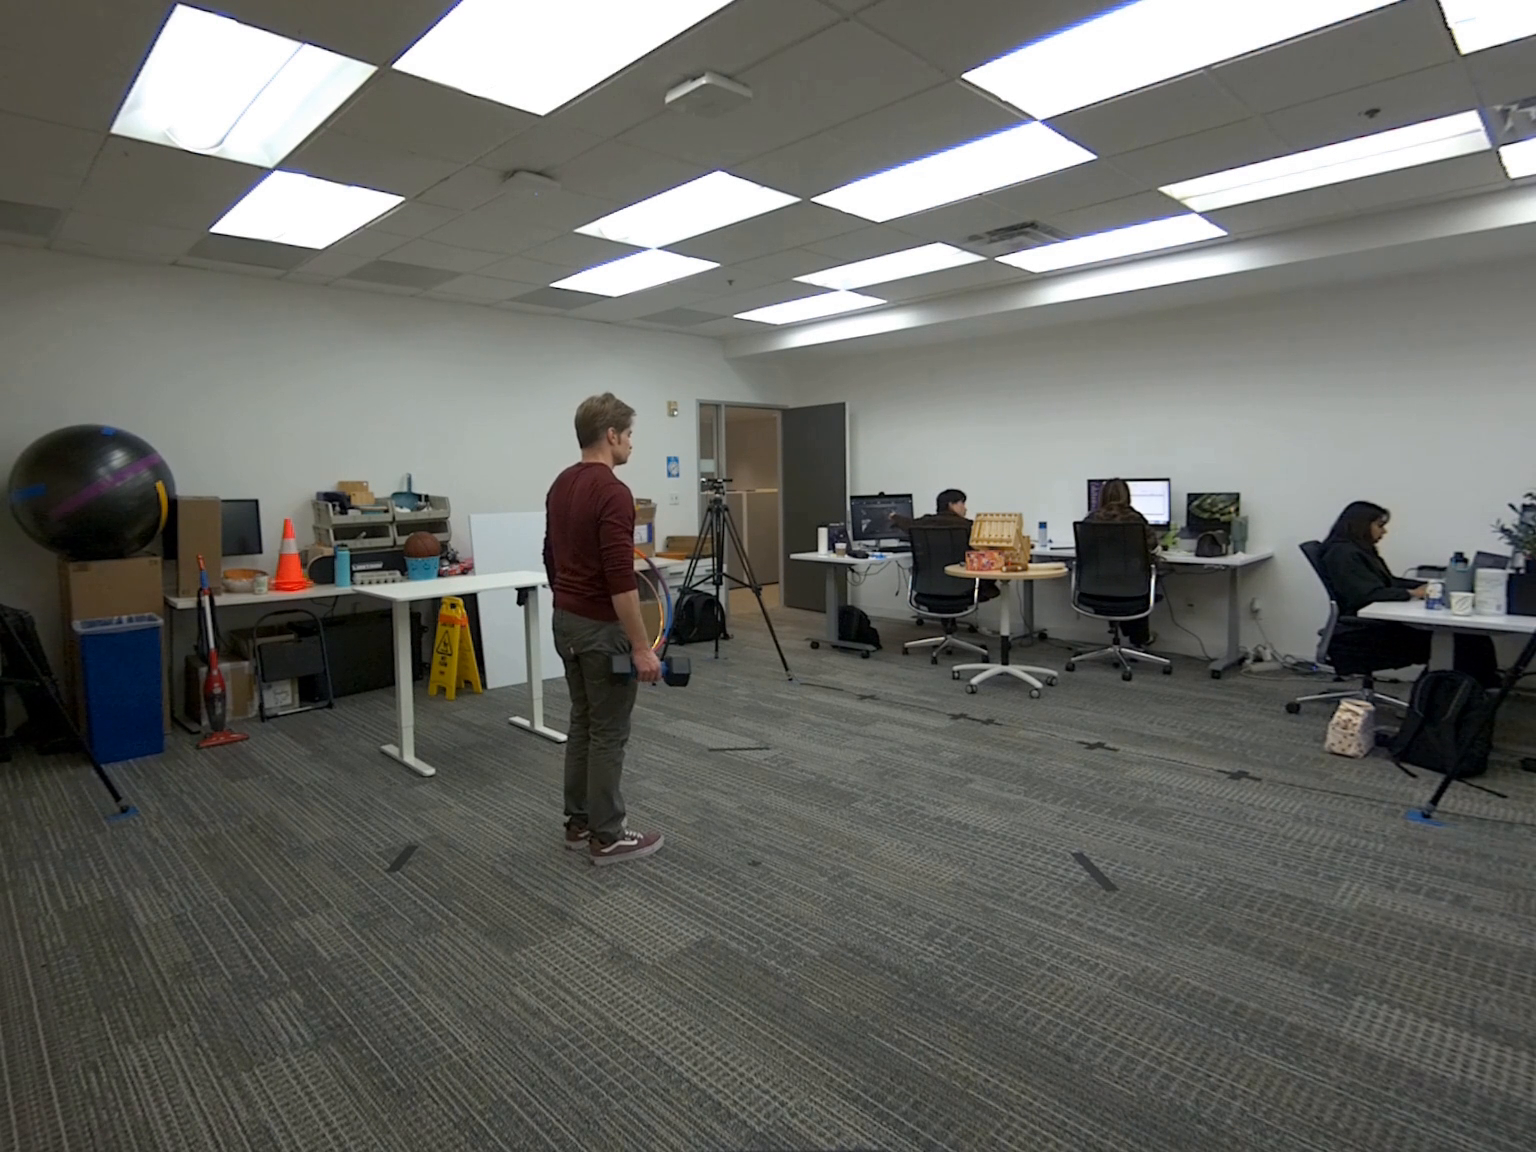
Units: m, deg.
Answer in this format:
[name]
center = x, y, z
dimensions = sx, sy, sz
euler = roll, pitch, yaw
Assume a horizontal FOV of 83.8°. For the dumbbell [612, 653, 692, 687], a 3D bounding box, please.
[dumbbell]
center = -0.416, 0.321, 3.015
dimensions = 0.288, 0.121, 0.112
euler = 2, 35, -17
